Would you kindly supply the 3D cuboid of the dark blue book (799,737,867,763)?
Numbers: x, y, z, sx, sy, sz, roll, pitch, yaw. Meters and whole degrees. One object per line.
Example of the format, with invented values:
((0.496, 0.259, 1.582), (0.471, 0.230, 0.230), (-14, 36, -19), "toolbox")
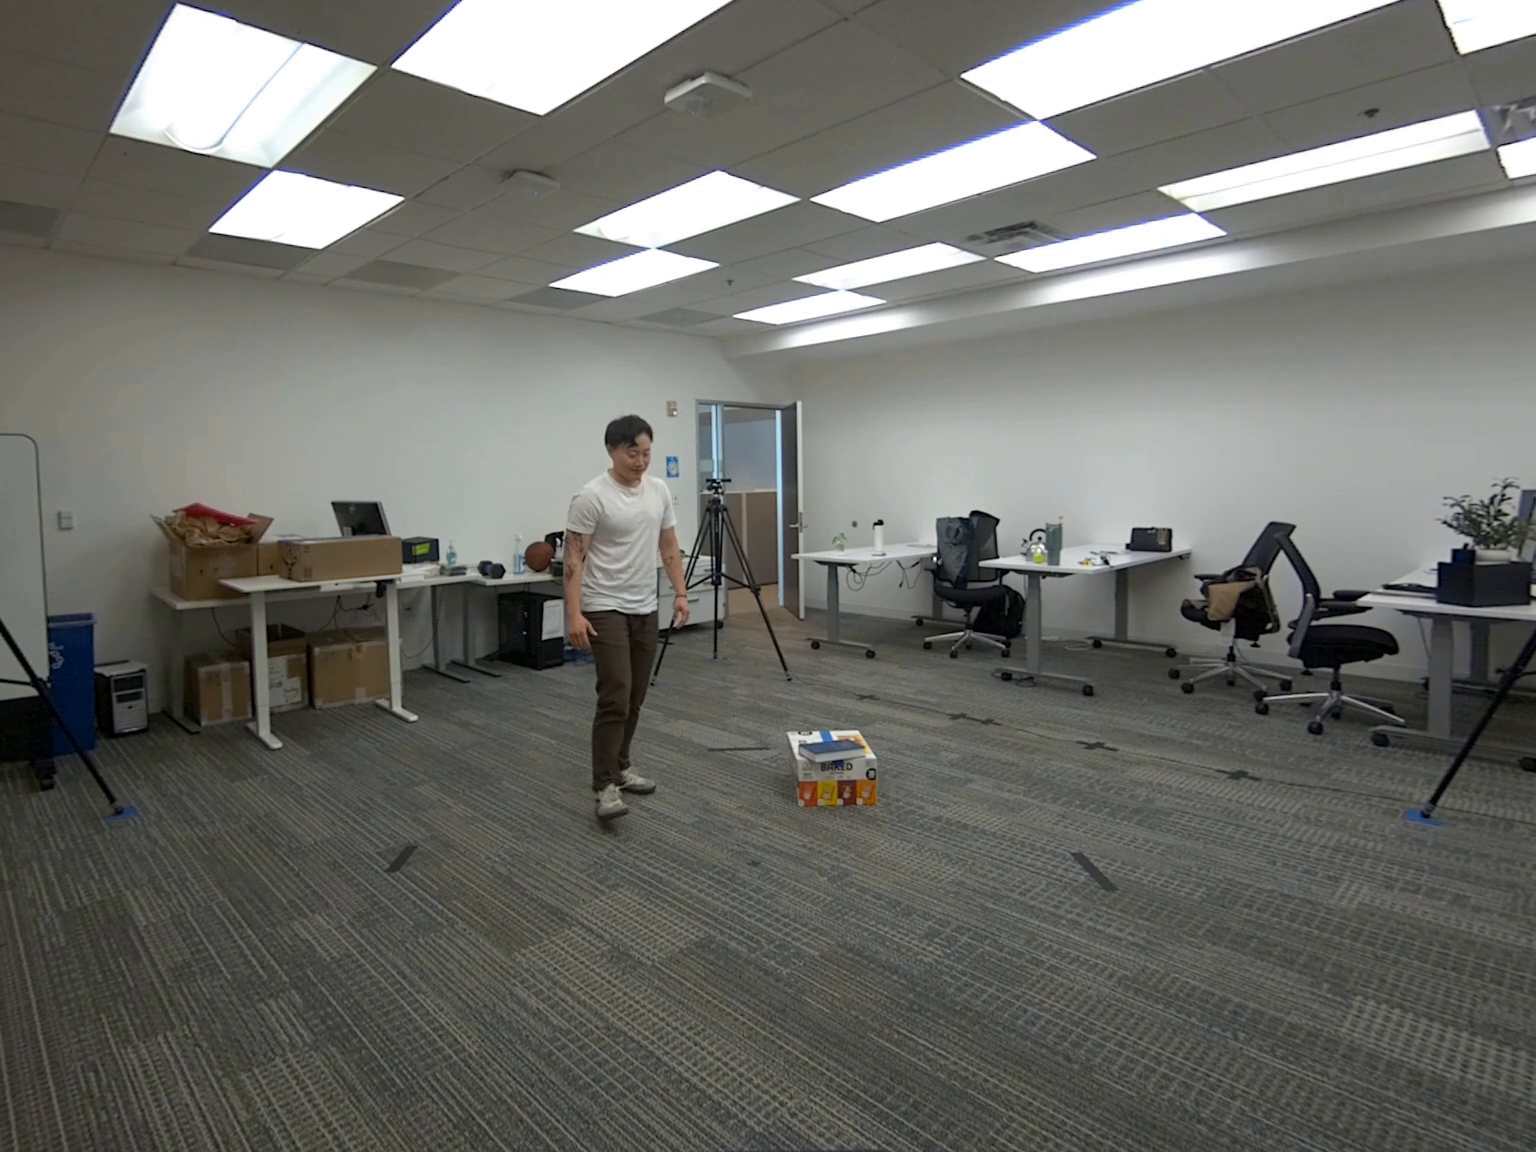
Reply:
((0.276, 0.749, 3.683), (0.240, 0.045, 0.167), (-2, 4, -23), "dark blue book")
